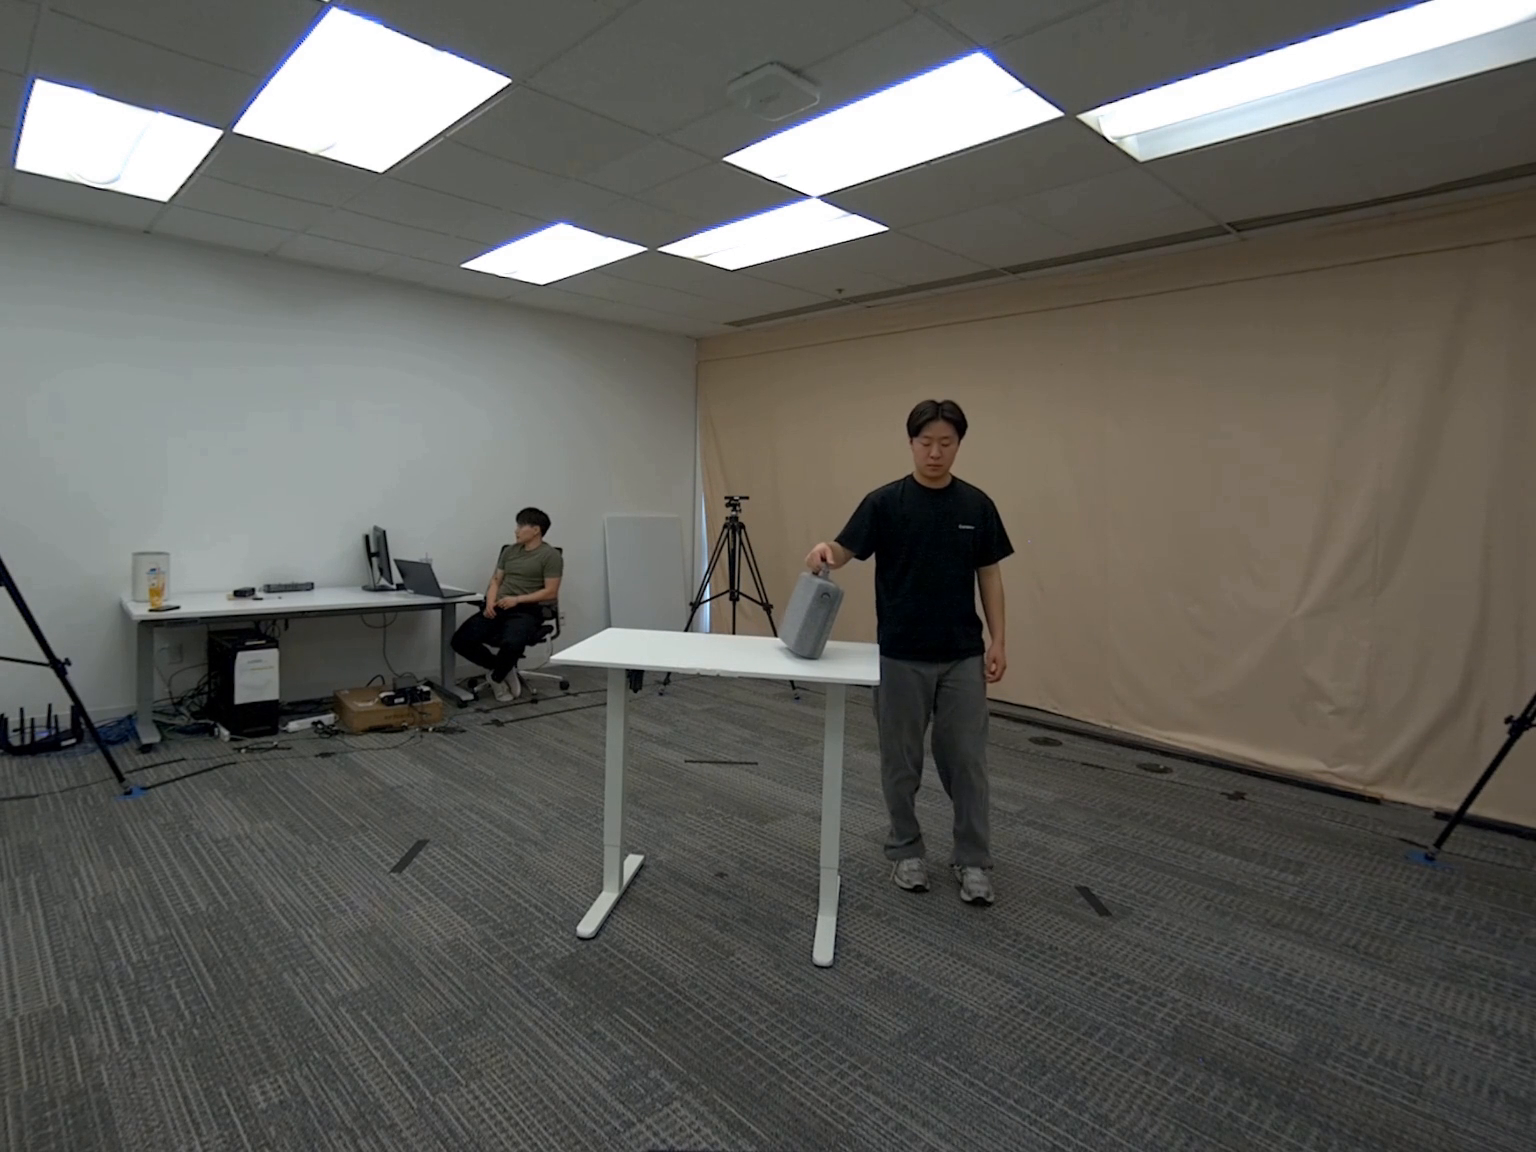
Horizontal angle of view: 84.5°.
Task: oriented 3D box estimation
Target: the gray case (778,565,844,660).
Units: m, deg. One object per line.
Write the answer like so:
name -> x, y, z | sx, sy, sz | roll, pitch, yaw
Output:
gray case -> 0.132, 0.118, 2.780 | 0.102, 0.287, 0.266 | 16, 3, -10
